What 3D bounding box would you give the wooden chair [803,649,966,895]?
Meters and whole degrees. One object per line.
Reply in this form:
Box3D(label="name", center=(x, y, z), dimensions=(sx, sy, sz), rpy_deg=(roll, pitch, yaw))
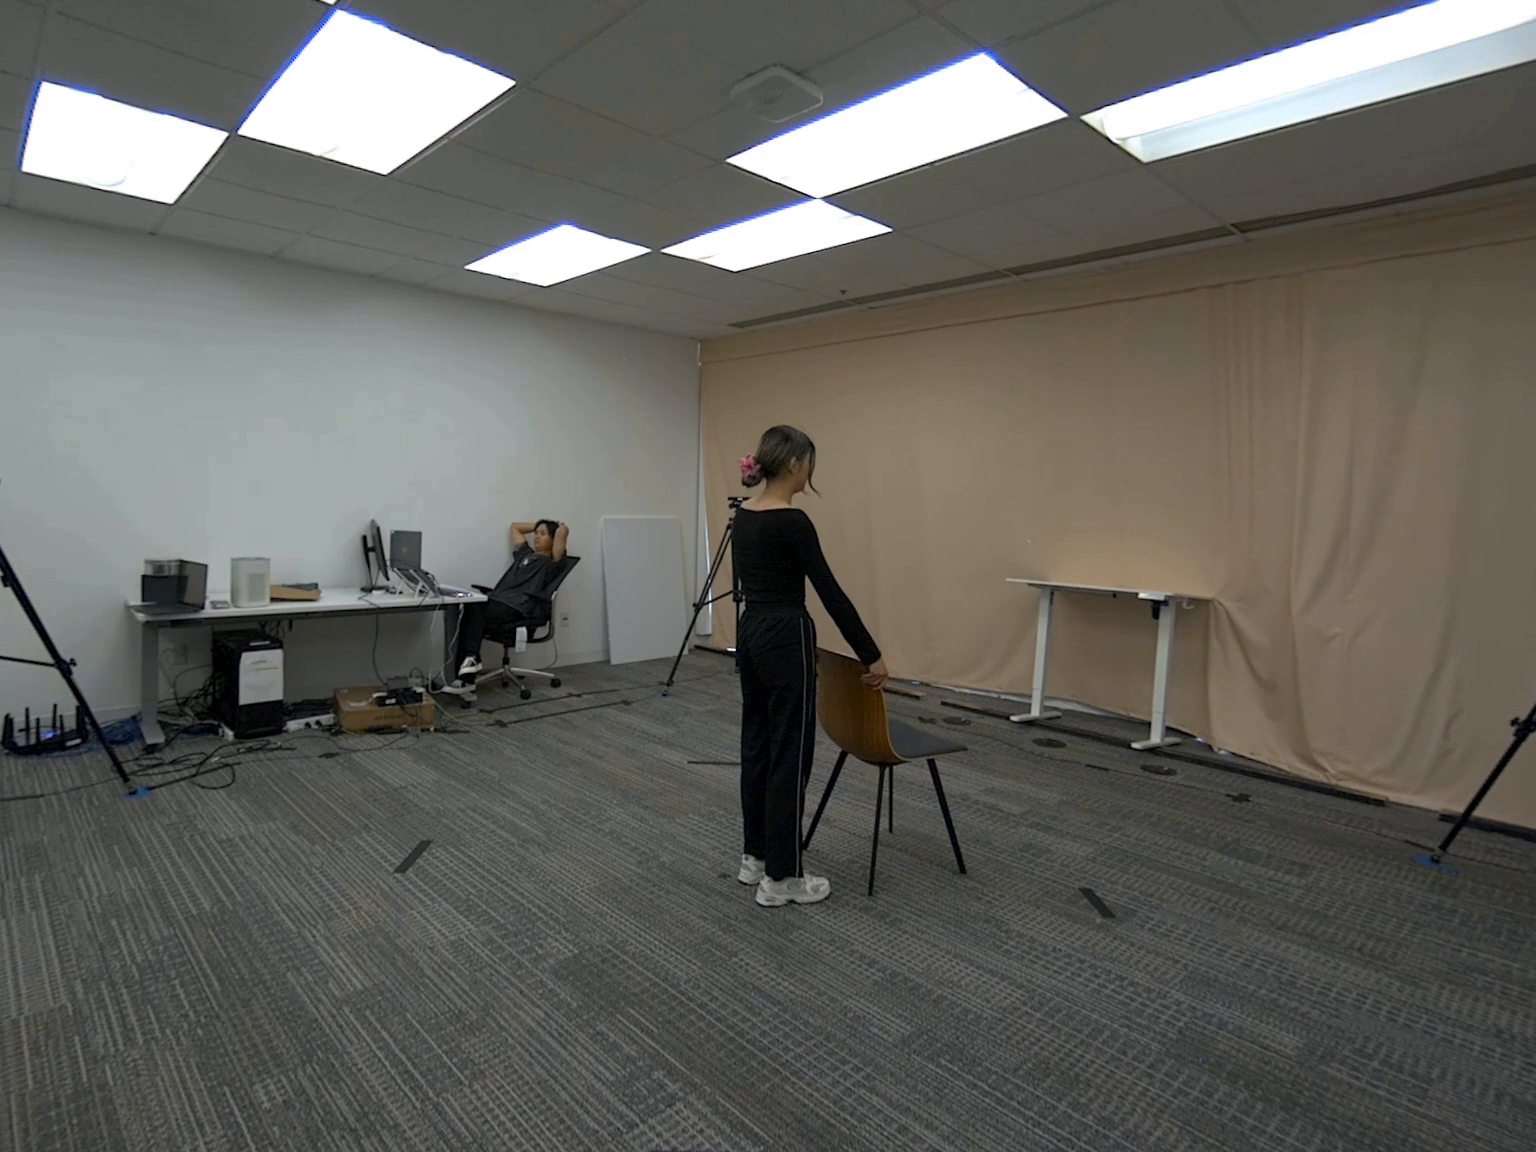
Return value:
Box3D(label="wooden chair", center=(0.455, 0.684, 3.247), dimensions=(0.514, 0.874, 0.488), rpy_deg=(-5, 6, -28))
